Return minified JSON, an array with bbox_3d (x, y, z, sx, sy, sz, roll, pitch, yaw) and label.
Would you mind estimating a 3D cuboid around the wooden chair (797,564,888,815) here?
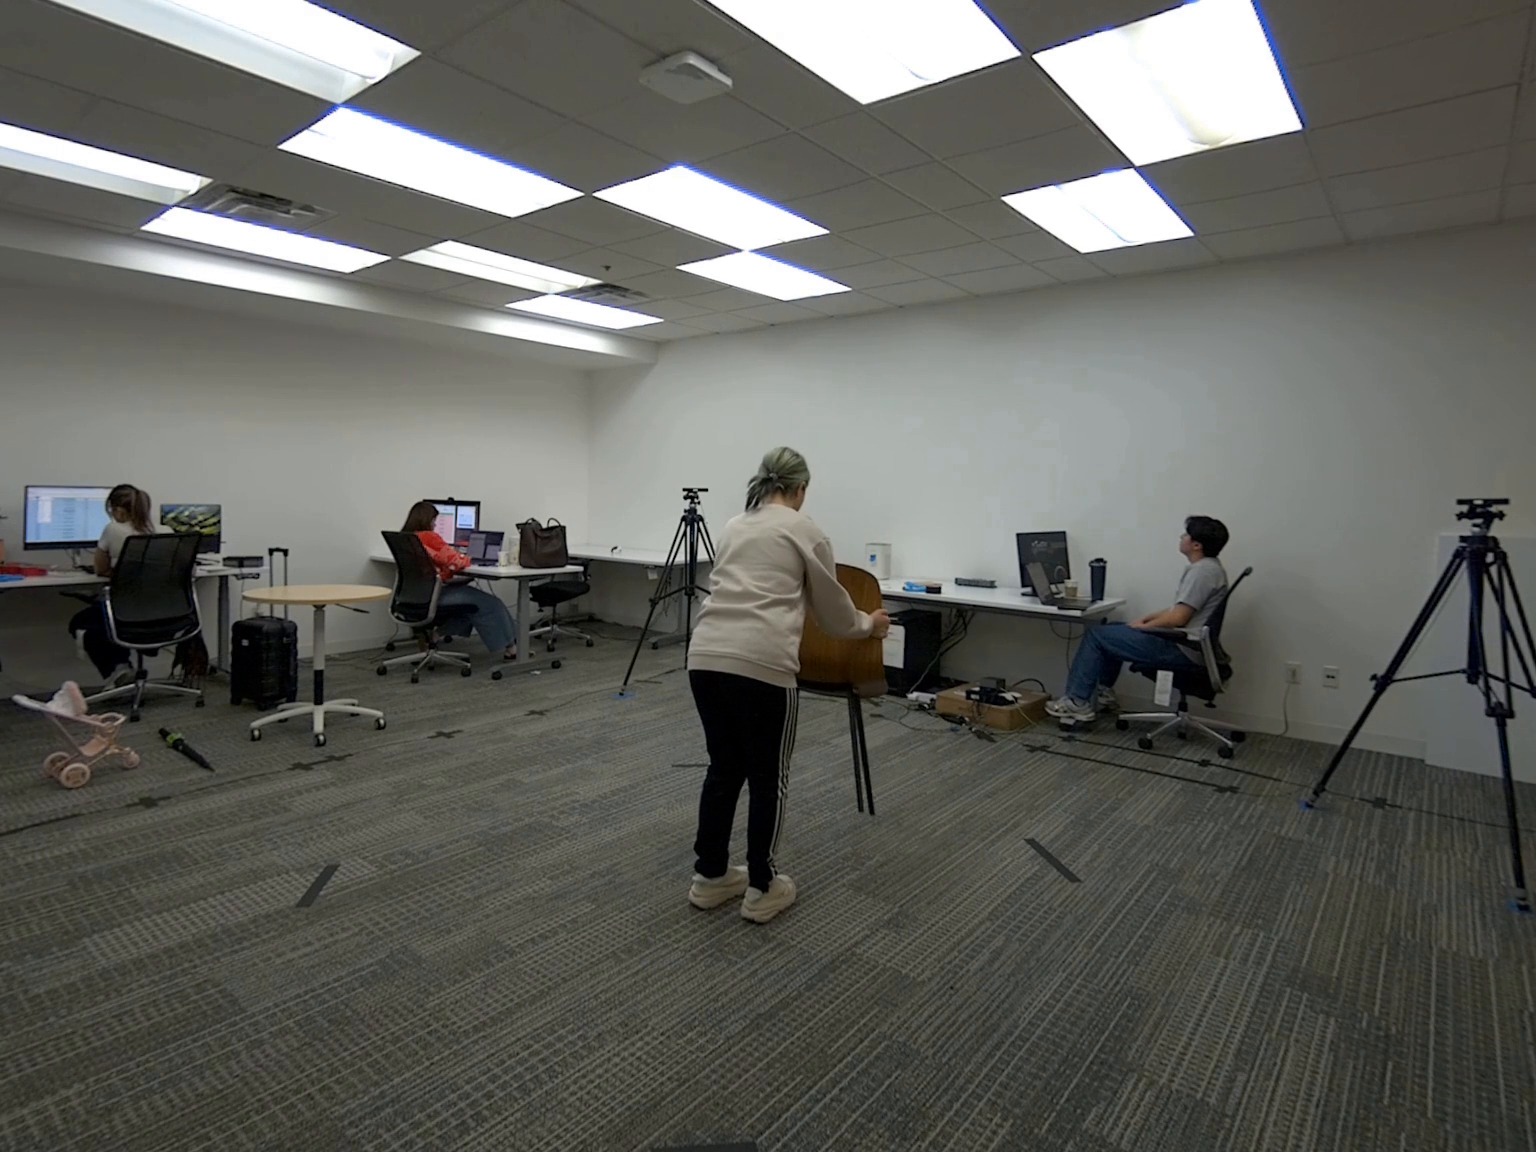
[{"bbox_3d":[0.196,0.427,3.239,0.486,0.886,0.509,4,-12,14],"label":"wooden chair"}]
